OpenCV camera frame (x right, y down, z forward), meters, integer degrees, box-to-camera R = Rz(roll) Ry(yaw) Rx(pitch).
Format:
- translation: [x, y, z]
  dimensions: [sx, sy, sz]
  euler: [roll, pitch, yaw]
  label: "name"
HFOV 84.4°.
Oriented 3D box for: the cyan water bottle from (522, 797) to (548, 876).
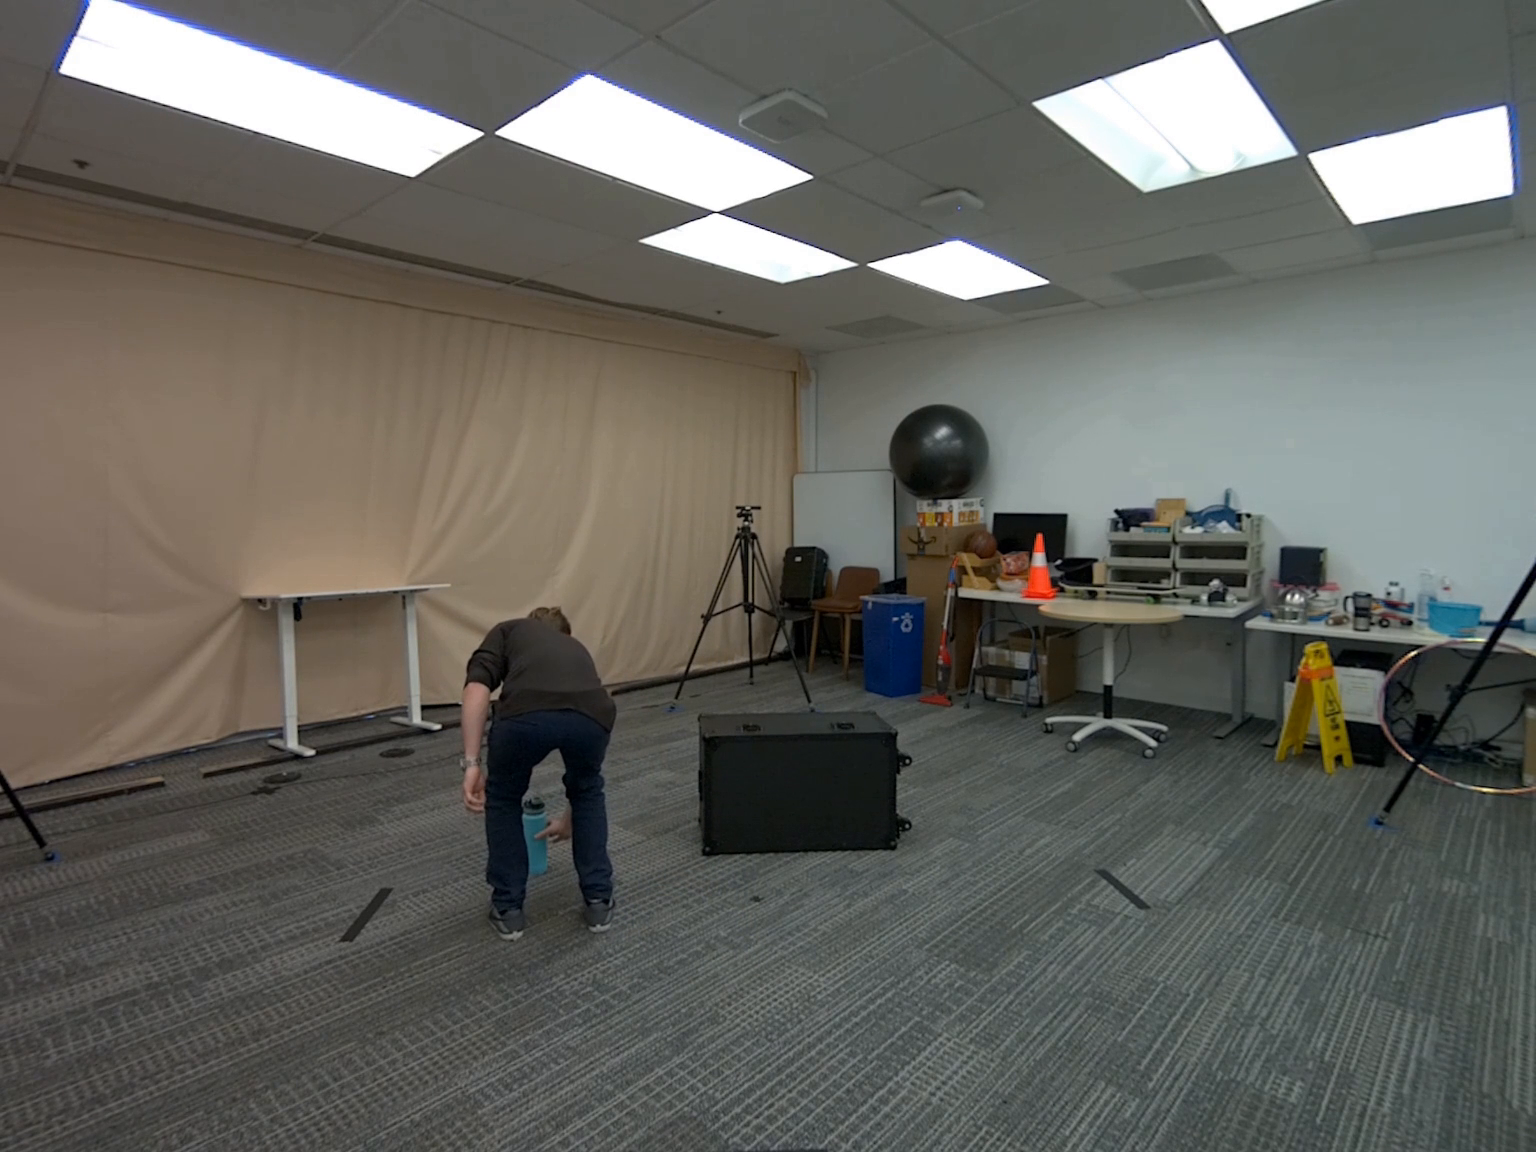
- translation: [-0.904, 0.998, 3.234]
  dimensions: [0.092, 0.283, 0.092]
  euler: [-4, 1, -2]
  label: "cyan water bottle"
